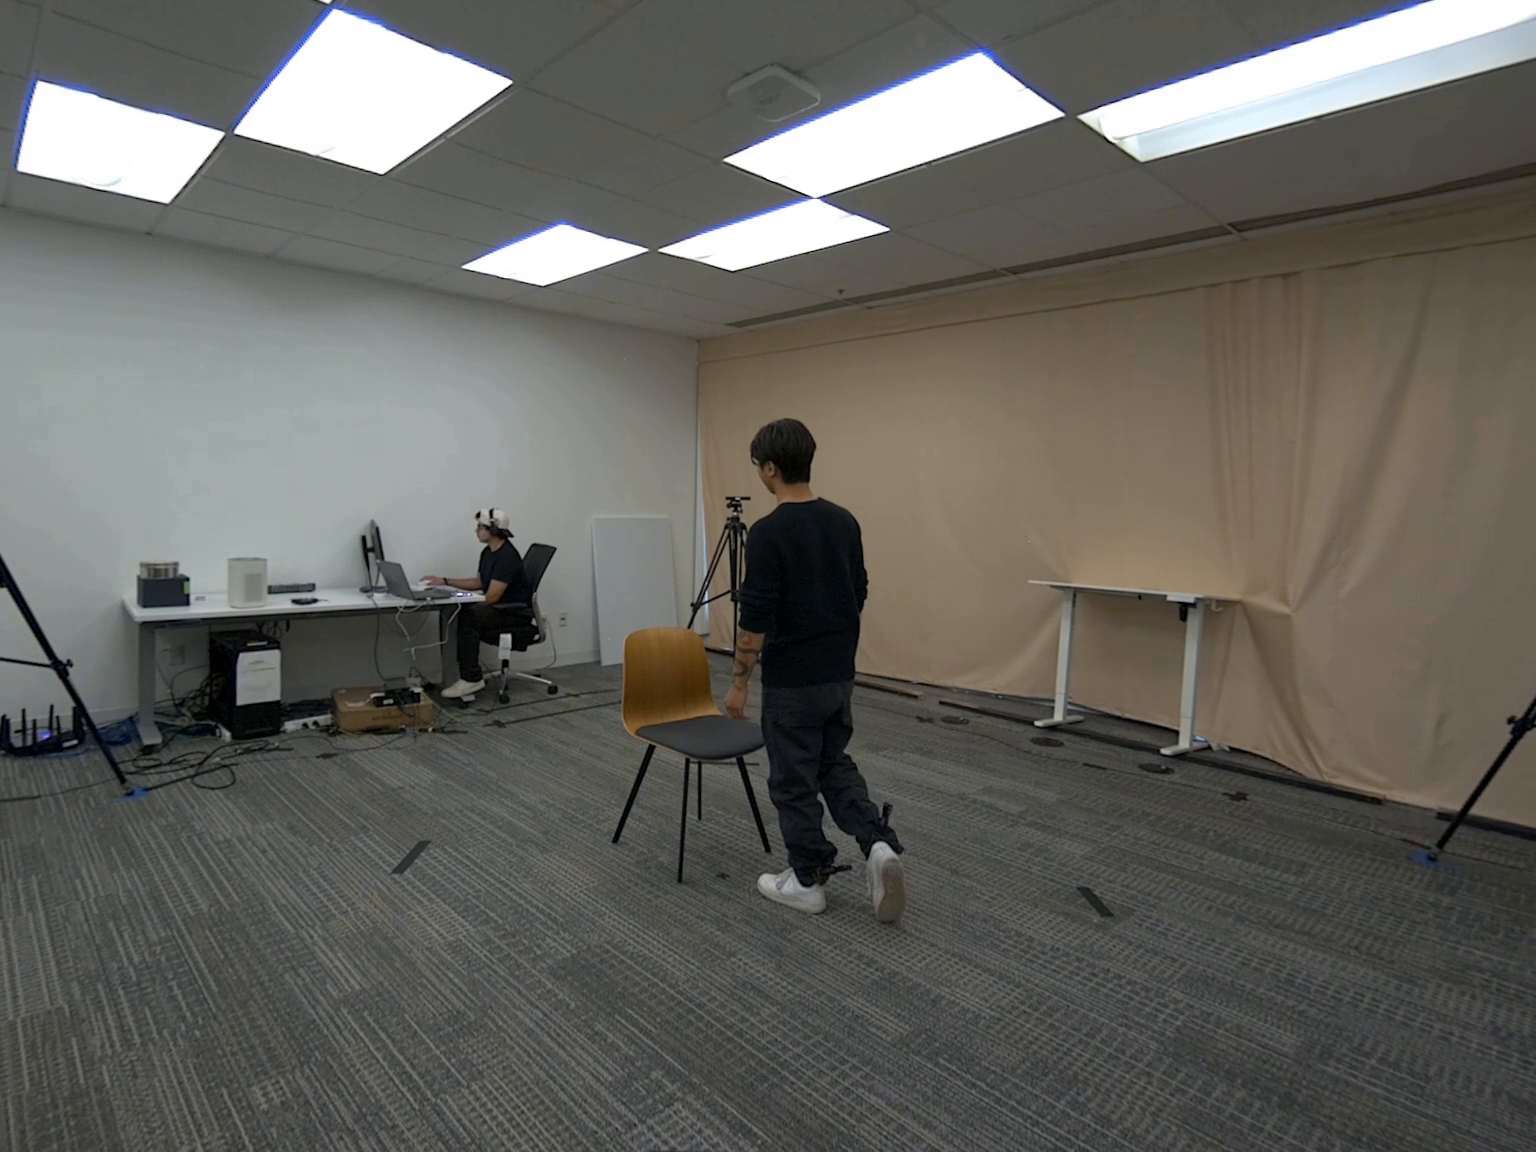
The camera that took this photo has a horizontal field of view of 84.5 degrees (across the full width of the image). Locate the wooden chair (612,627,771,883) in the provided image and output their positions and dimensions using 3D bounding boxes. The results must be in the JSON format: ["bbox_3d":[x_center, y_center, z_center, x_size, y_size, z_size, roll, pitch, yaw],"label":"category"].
[{"bbox_3d":[-0.296,0.657,3.313,0.467,0.878,0.535,-1,0,-41],"label":"wooden chair"}]
